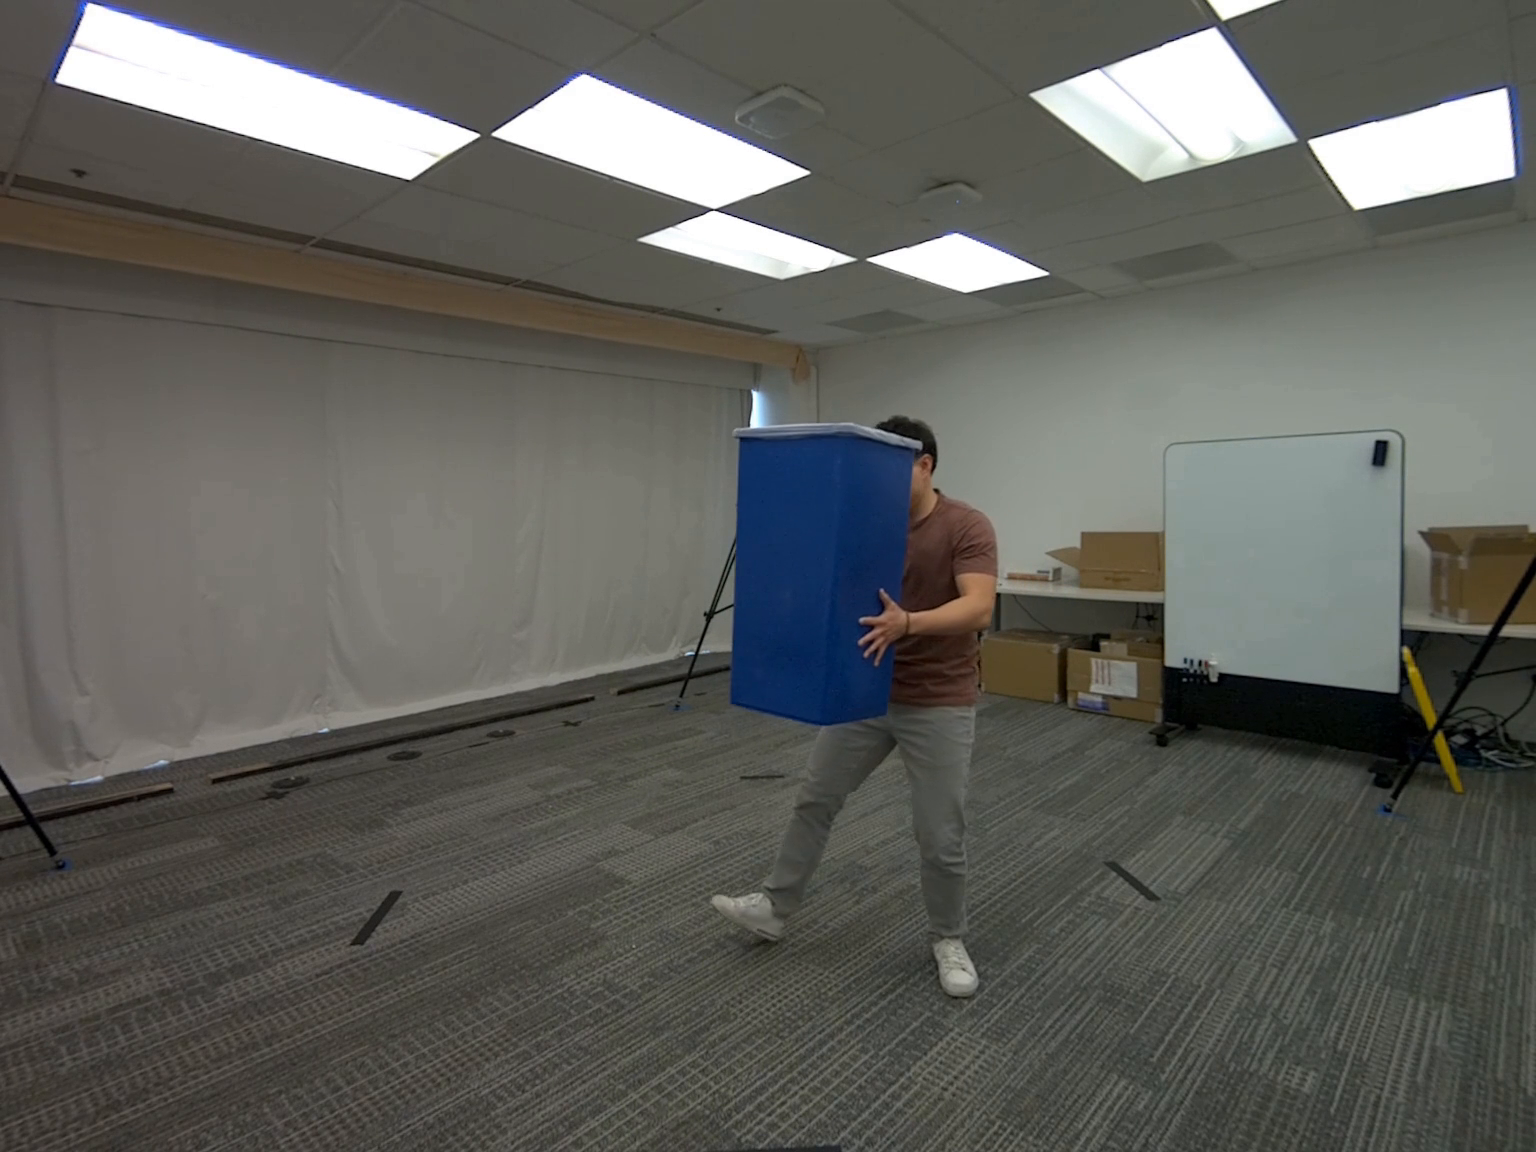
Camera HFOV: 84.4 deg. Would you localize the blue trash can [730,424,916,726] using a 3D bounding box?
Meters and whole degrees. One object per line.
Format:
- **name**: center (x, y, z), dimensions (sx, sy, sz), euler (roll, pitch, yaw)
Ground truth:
- **blue trash can**: center (0.135, -0.001, 2.171), dimensions (0.391, 0.713, 0.362), euler (4, 0, 41)
